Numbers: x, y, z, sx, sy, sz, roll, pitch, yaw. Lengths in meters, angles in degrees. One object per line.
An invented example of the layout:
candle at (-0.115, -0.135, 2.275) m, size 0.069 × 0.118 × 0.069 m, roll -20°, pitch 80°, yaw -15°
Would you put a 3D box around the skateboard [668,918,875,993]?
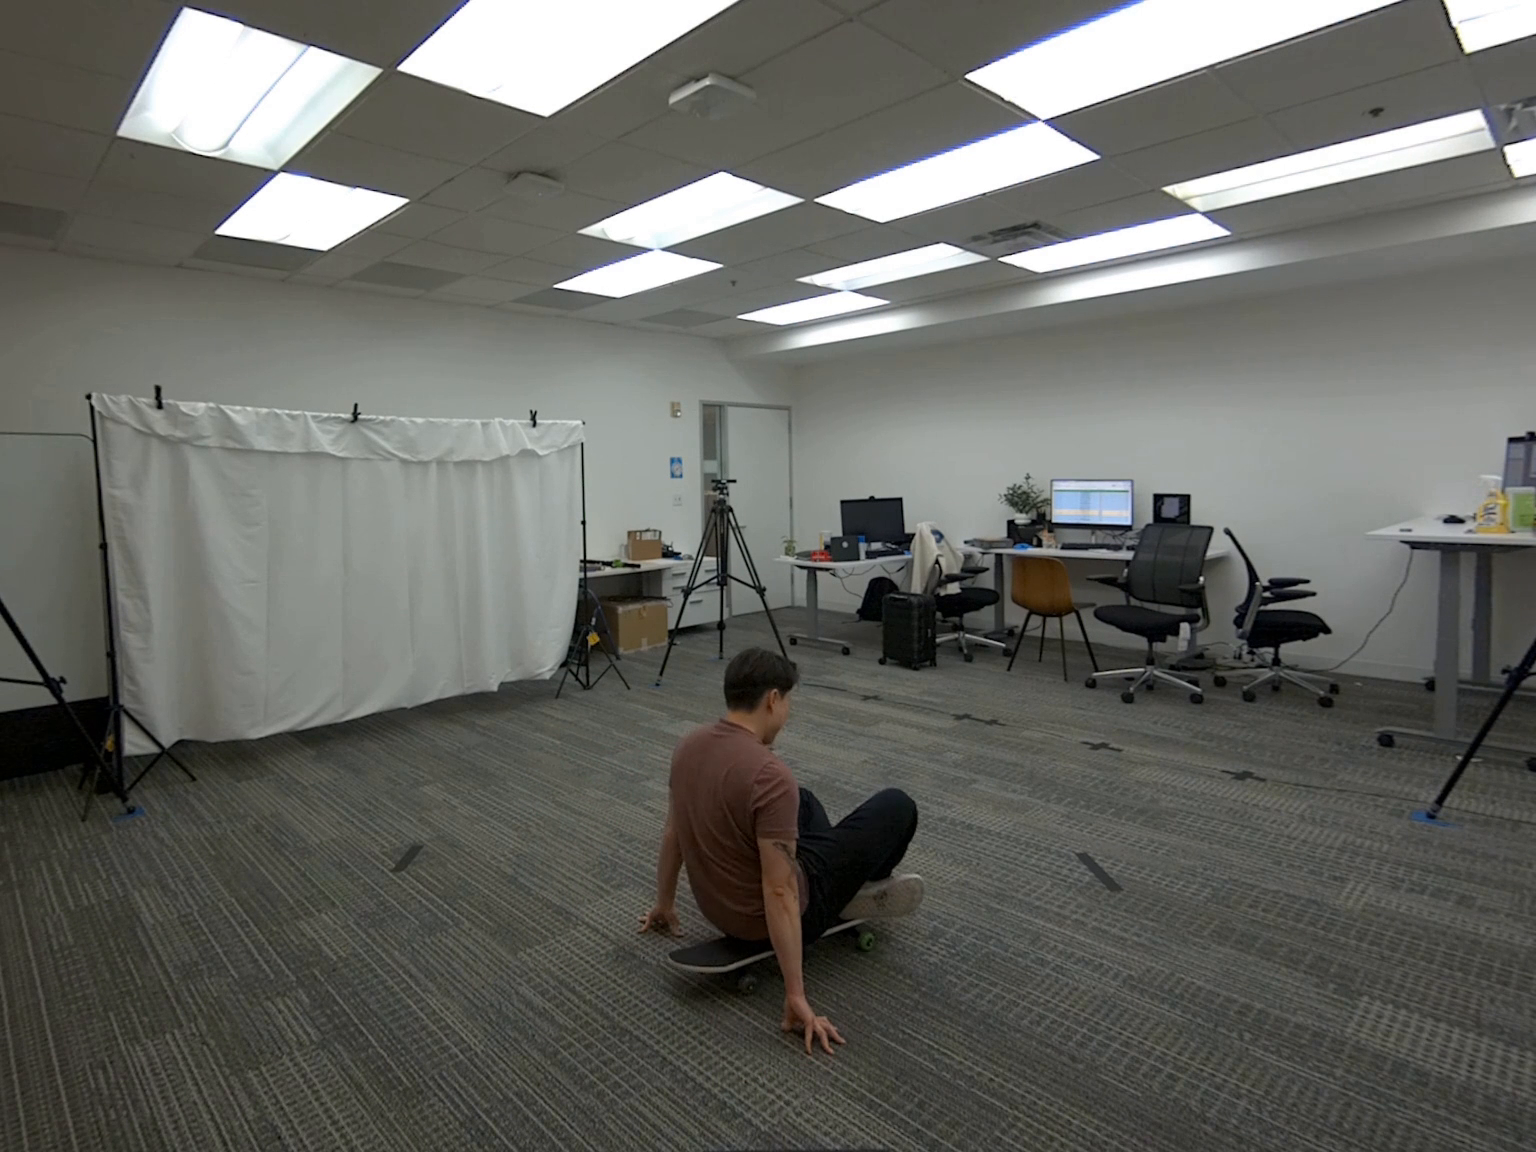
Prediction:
skateboard at (0.077, 1.069, 2.497) m, size 0.767 × 0.111 × 0.197 m, roll -6°, pitch -3°, yaw -31°
